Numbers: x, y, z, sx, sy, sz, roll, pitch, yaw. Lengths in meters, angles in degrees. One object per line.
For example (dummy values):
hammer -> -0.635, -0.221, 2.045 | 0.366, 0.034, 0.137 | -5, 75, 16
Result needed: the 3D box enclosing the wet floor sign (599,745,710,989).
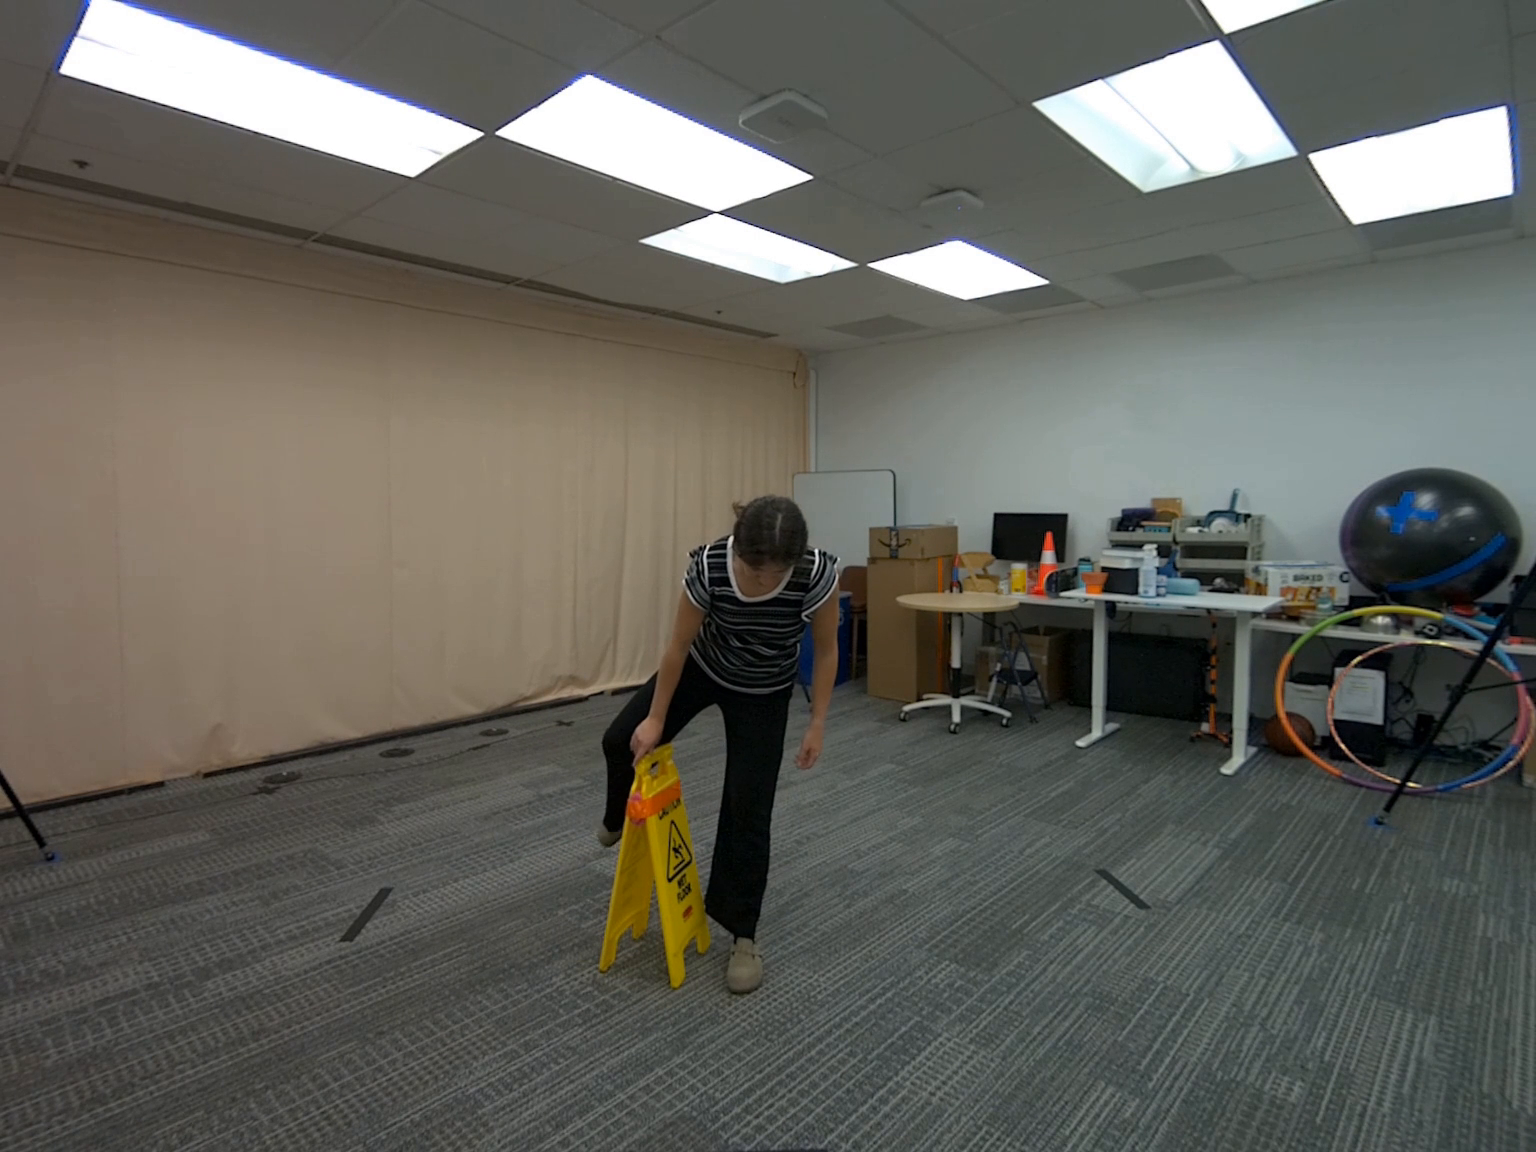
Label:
wet floor sign -> -0.344, 0.858, 2.583 | 0.296, 0.645, 0.277 | 0, 2, 20
